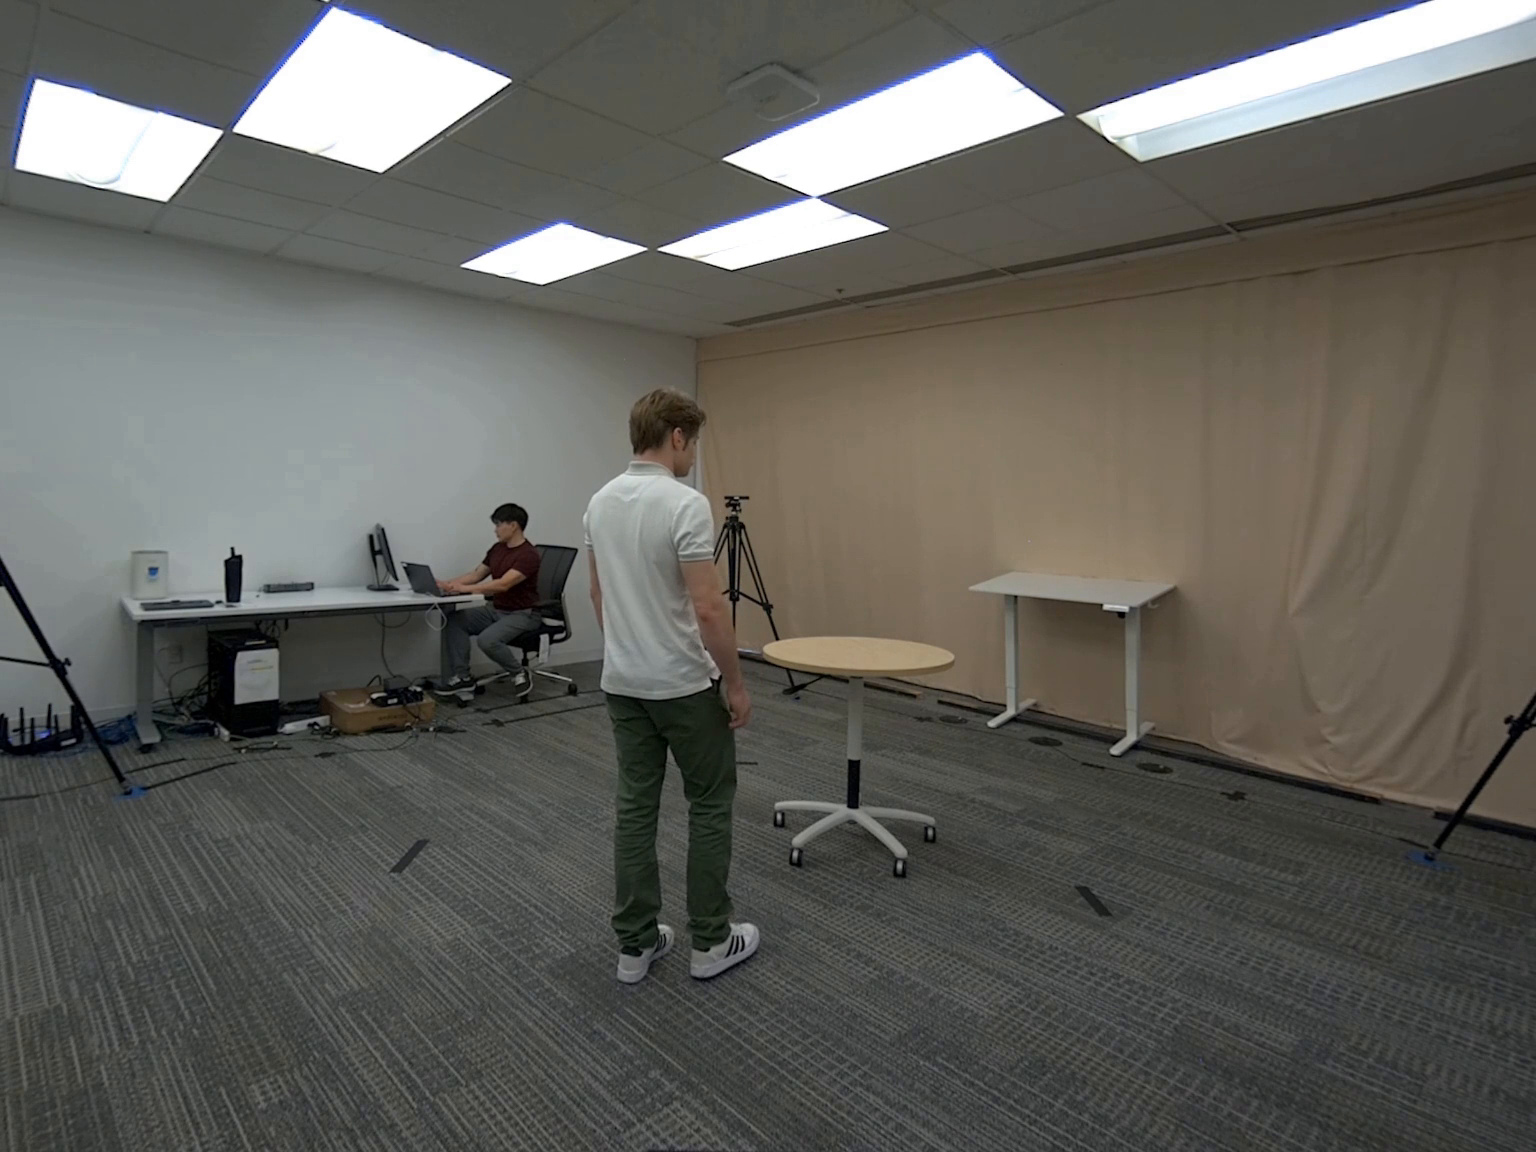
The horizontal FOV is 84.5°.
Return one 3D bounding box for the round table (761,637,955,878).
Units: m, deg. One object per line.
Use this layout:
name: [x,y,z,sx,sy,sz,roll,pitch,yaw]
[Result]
round table: [0.346,0.695,3.412,0.784,0.785,0.787,1,3,-1]
